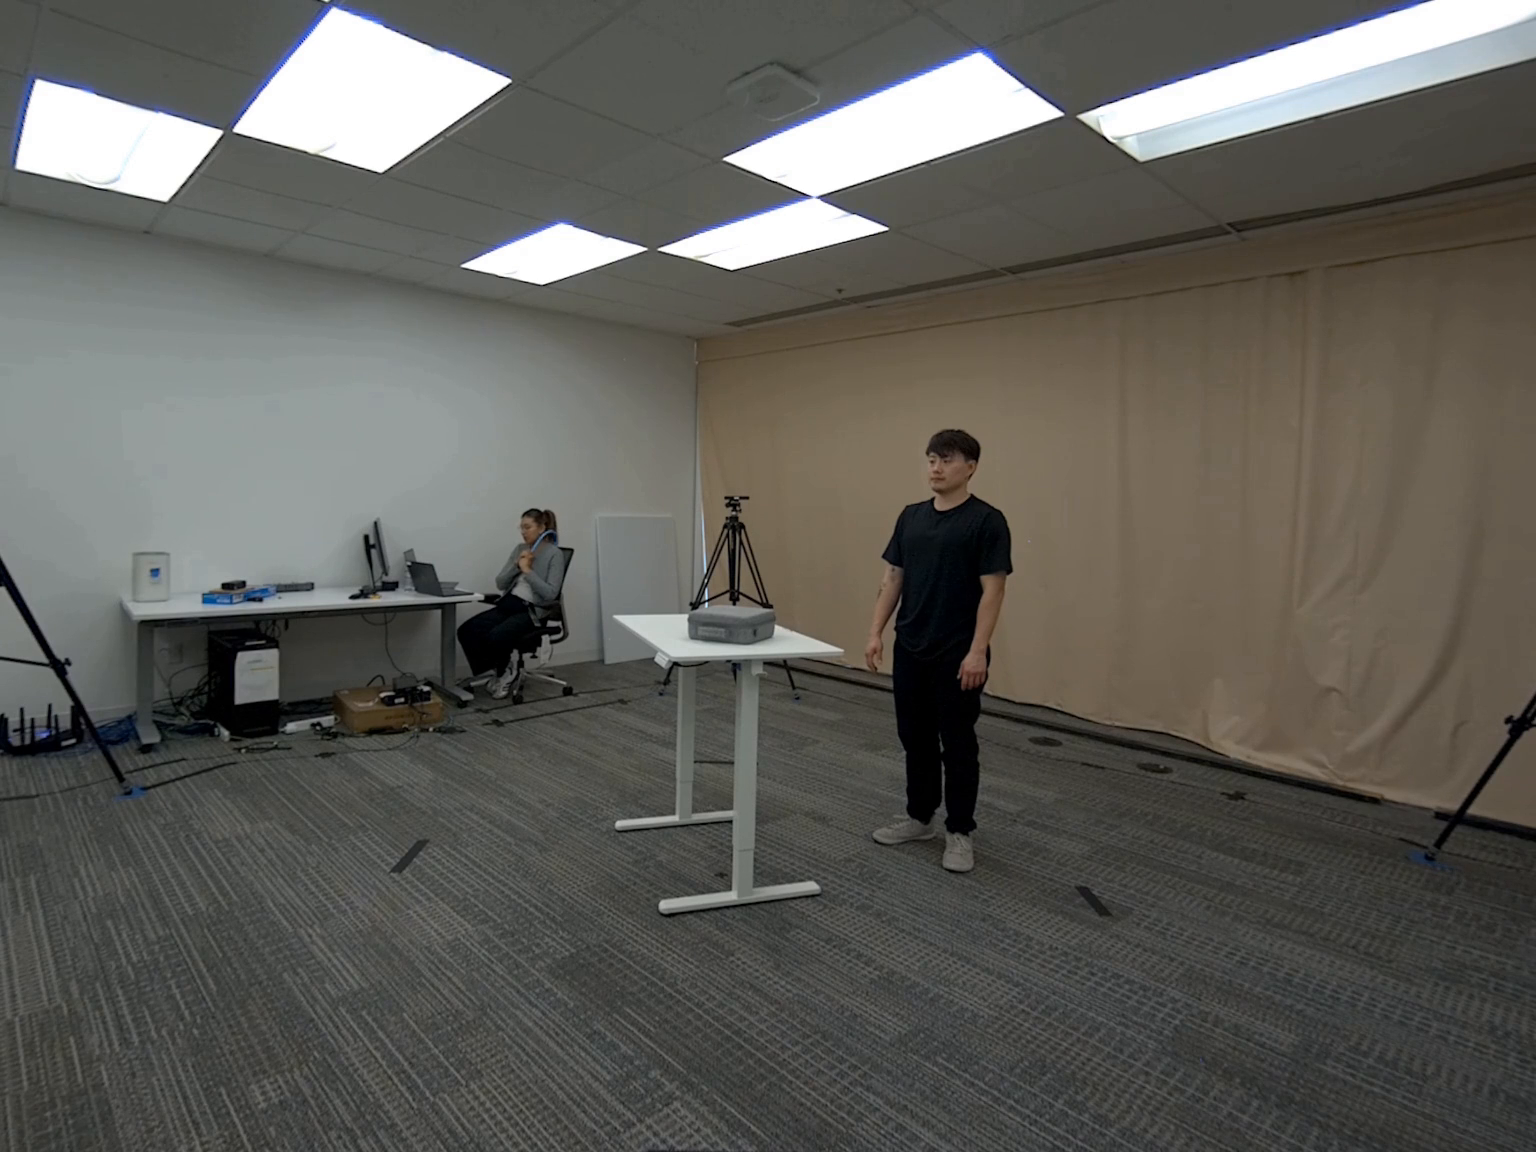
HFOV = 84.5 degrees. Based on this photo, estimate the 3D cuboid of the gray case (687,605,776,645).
[{"bbox_3d":[-0.134,0.174,3.040,0.262,0.104,0.256,5,6,25],"label":"gray case"}]
